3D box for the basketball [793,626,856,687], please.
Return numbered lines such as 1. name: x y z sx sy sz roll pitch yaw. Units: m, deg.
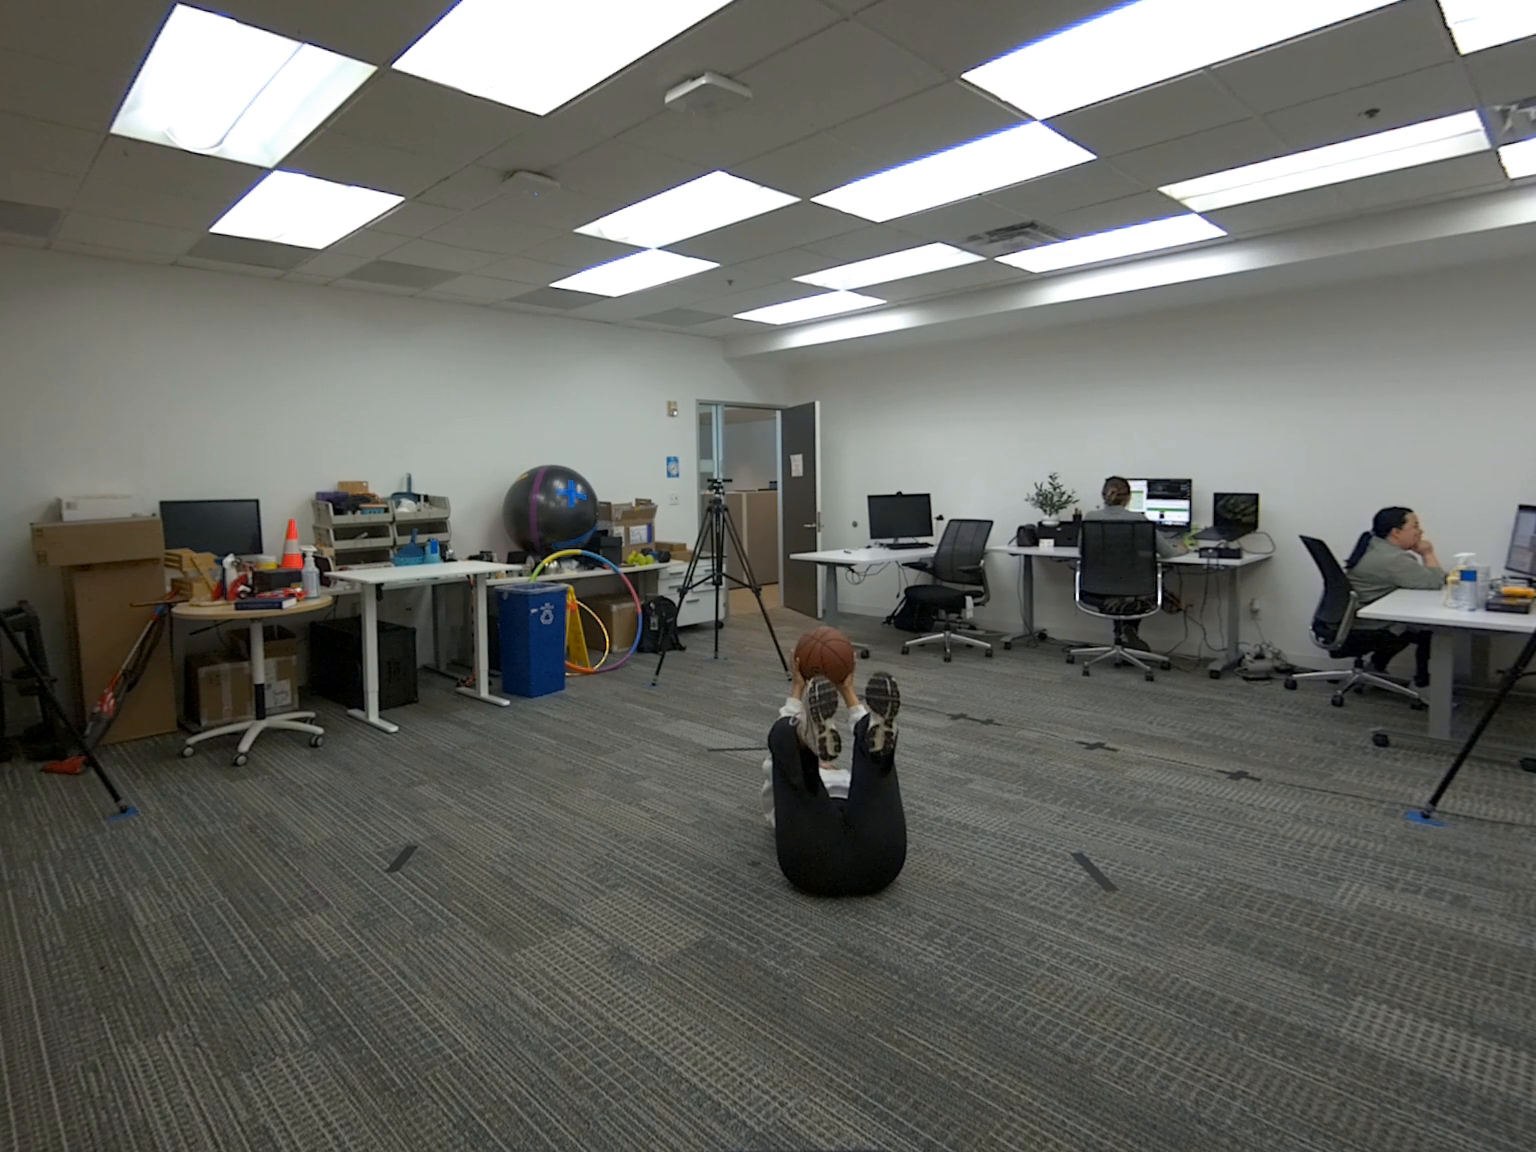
1. basketball: 0.226 0.335 3.481 0.236 0.235 0.237 -1 5 -2
